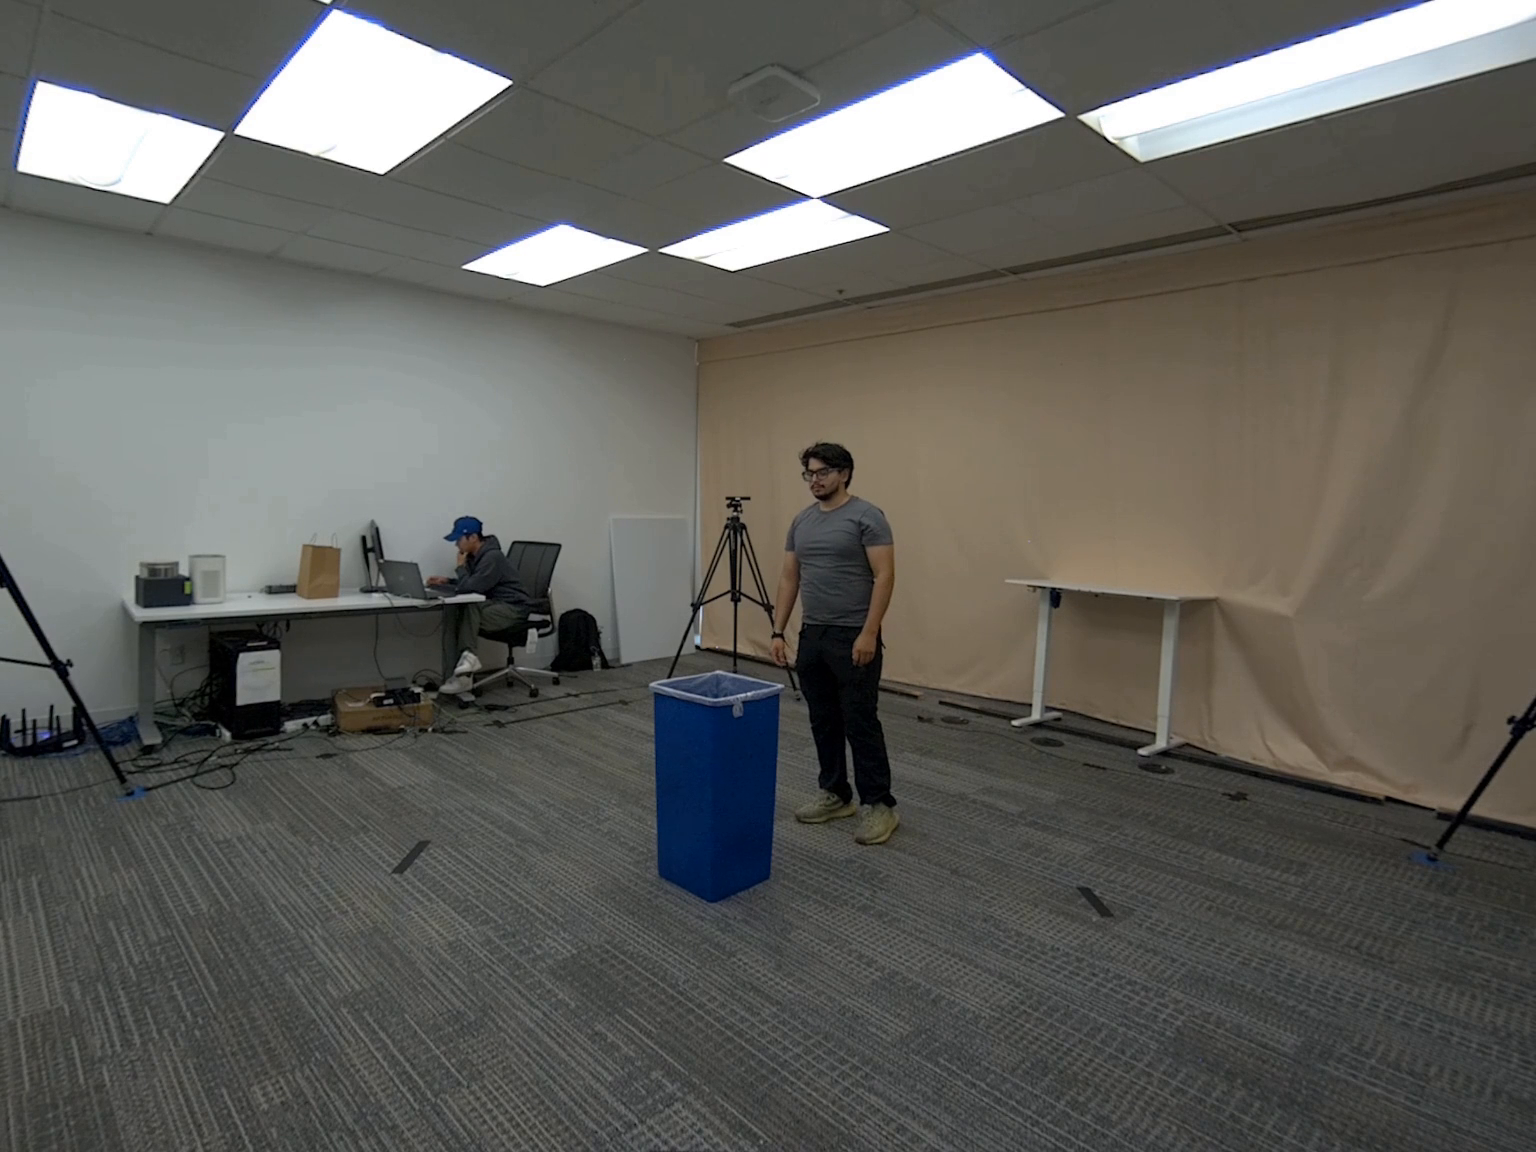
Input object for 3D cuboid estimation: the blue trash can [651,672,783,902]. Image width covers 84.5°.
[{"bbox_3d":[-0.195,0.749,3.085,0.387,0.712,0.365,4,5,43],"label":"blue trash can"}]
